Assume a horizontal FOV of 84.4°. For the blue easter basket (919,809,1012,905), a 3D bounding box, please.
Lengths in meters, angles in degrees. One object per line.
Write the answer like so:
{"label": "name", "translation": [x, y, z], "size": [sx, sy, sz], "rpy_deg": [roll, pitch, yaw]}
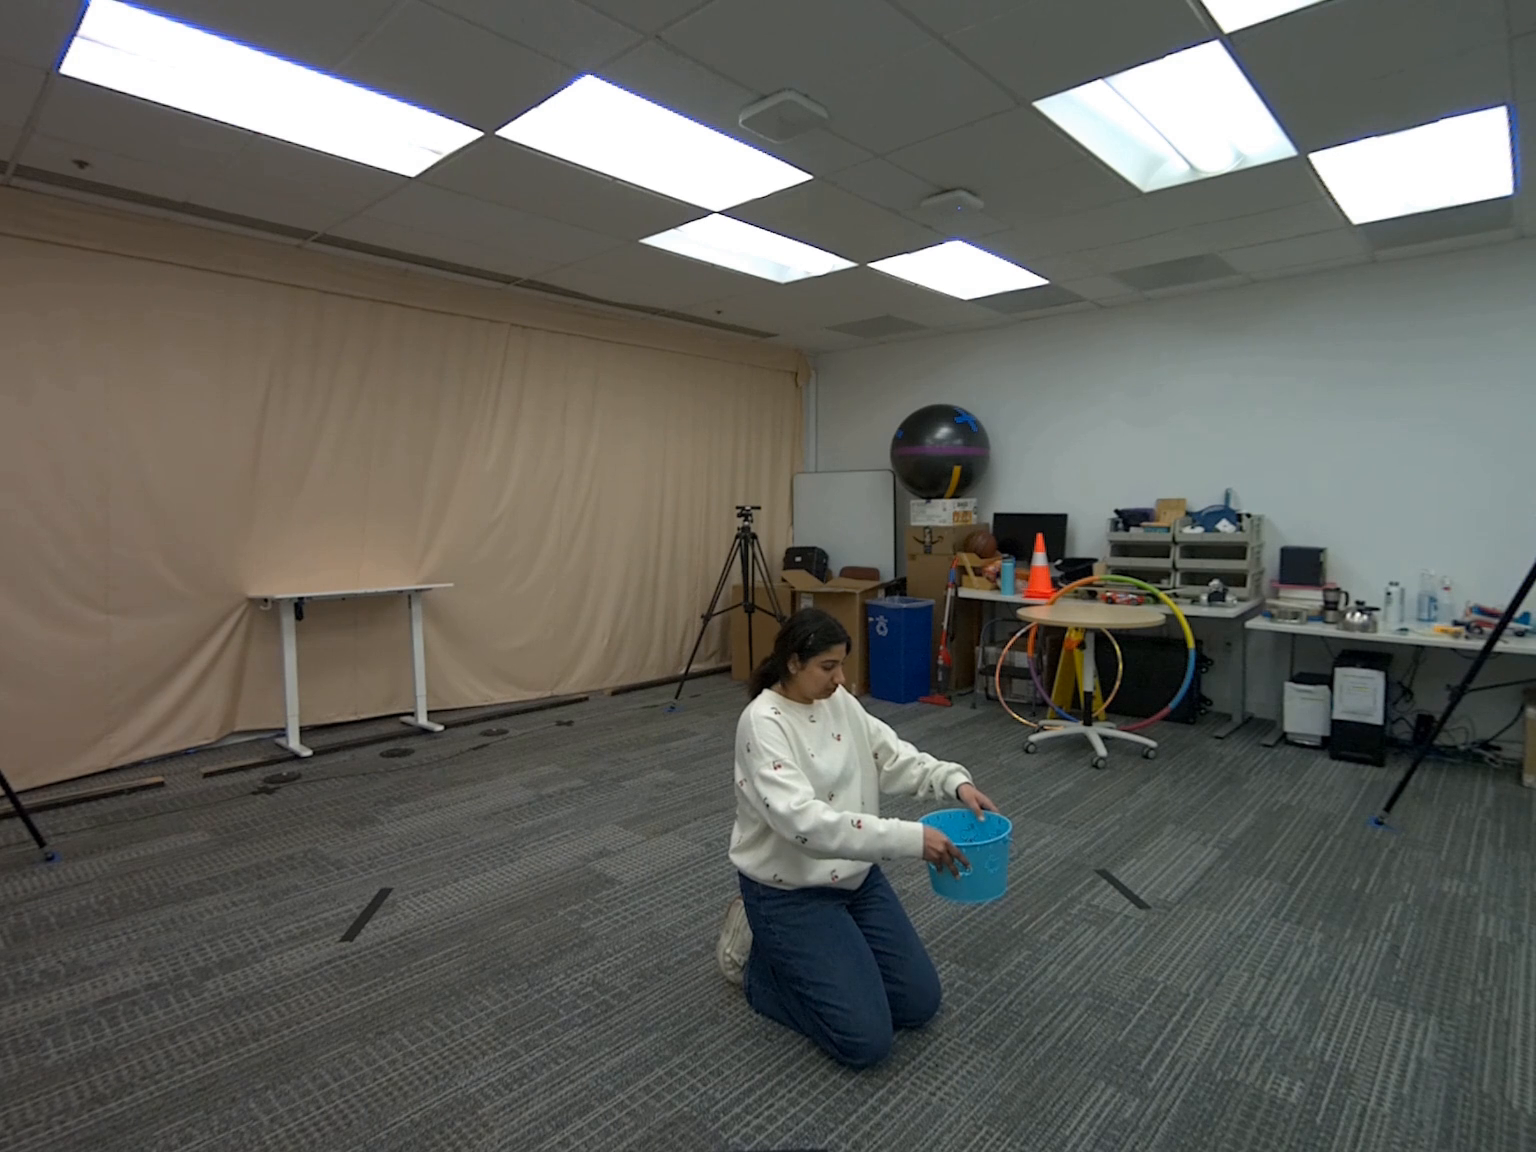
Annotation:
{"label": "blue easter basket", "translation": [0.473, 0.691, 2.074], "size": [0.243, 0.155, 0.244], "rpy_deg": [-6, 4, -1]}
